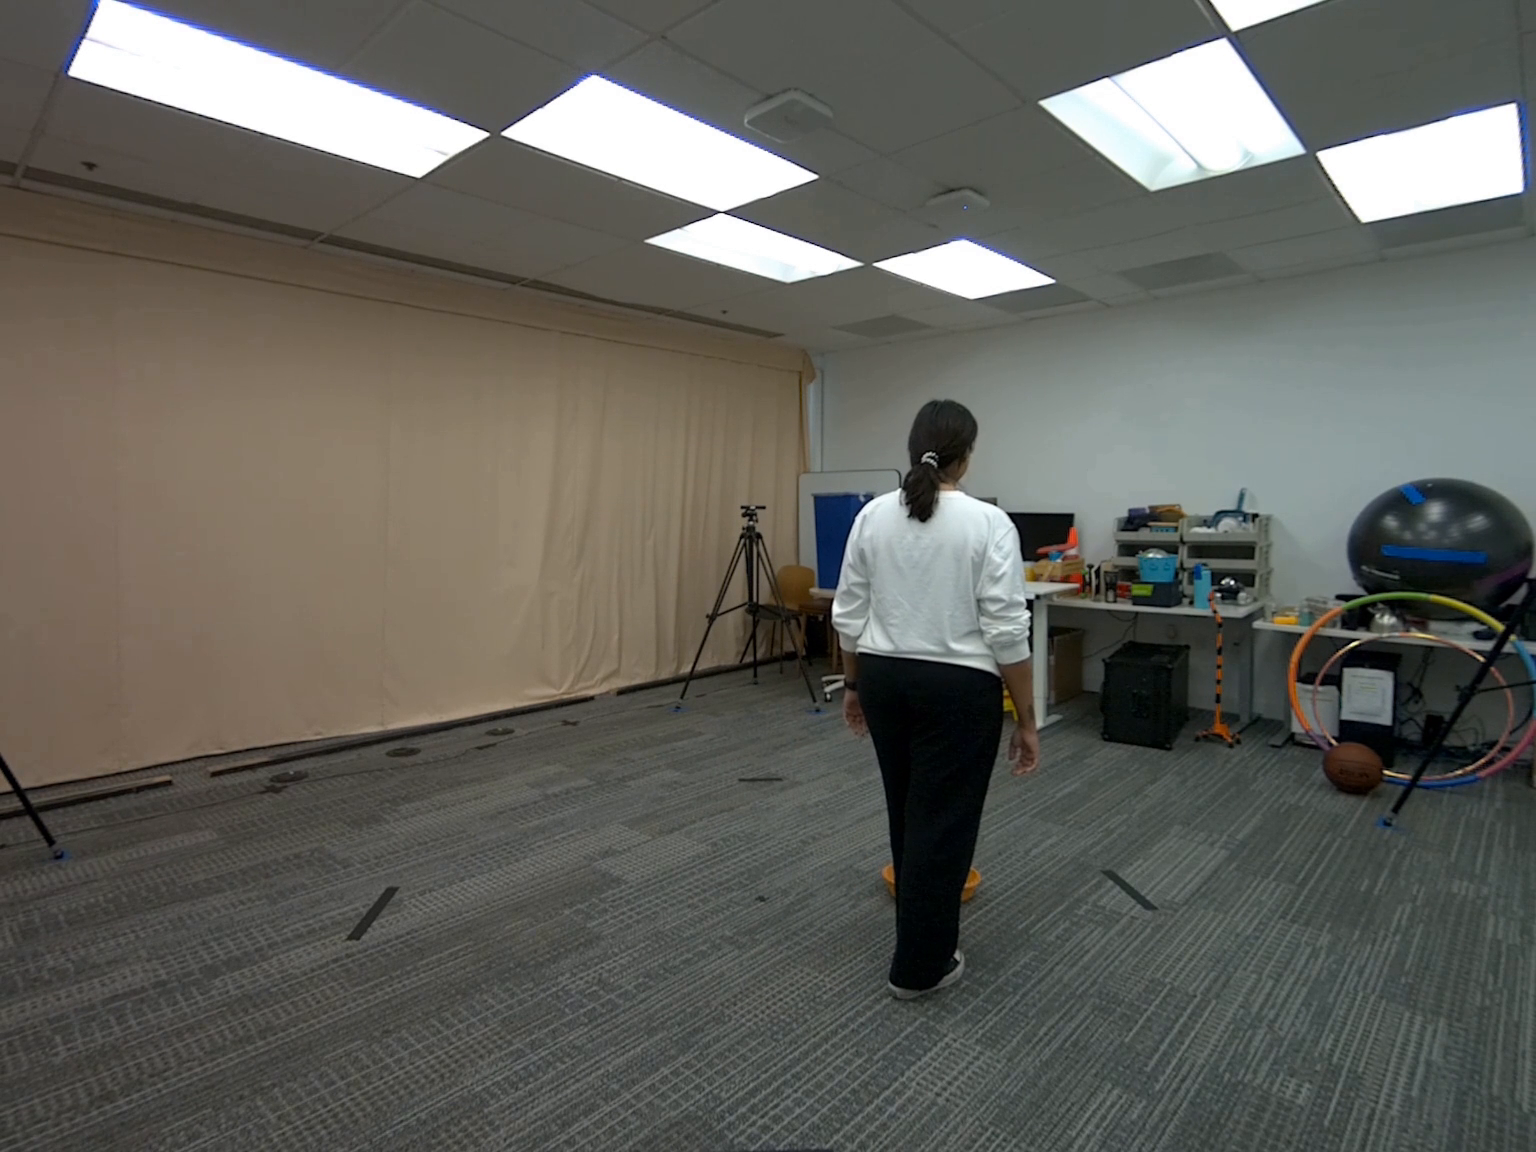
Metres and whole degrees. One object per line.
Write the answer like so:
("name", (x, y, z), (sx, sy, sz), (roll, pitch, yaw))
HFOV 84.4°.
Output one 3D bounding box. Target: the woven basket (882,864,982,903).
("woven basket", (0.590, 1.098, 3.019), (0.350, 0.073, 0.253), (0, 3, -1))
